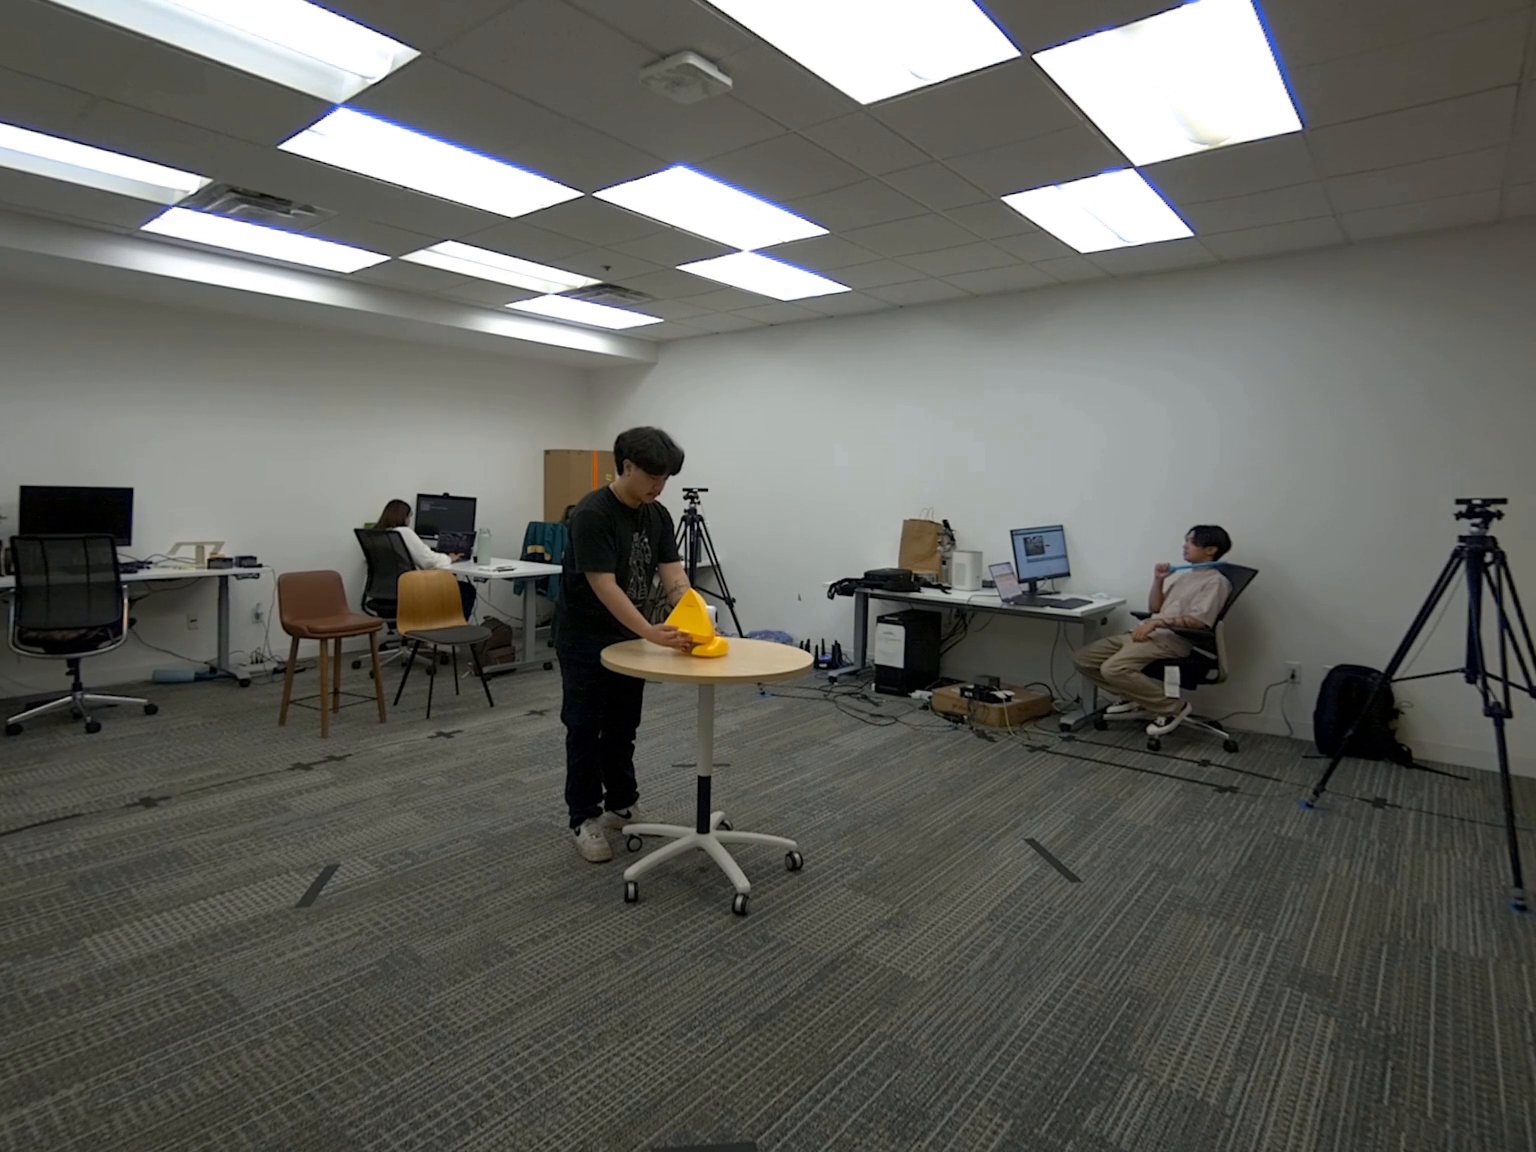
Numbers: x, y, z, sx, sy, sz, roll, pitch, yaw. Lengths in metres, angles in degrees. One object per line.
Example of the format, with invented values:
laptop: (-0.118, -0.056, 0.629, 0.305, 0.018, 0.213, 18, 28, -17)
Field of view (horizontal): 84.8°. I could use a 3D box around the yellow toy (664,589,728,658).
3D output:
yellow toy: (-0.255, 0.150, 3.056, 0.212, 0.230, 0.187, 7, 7, 36)
